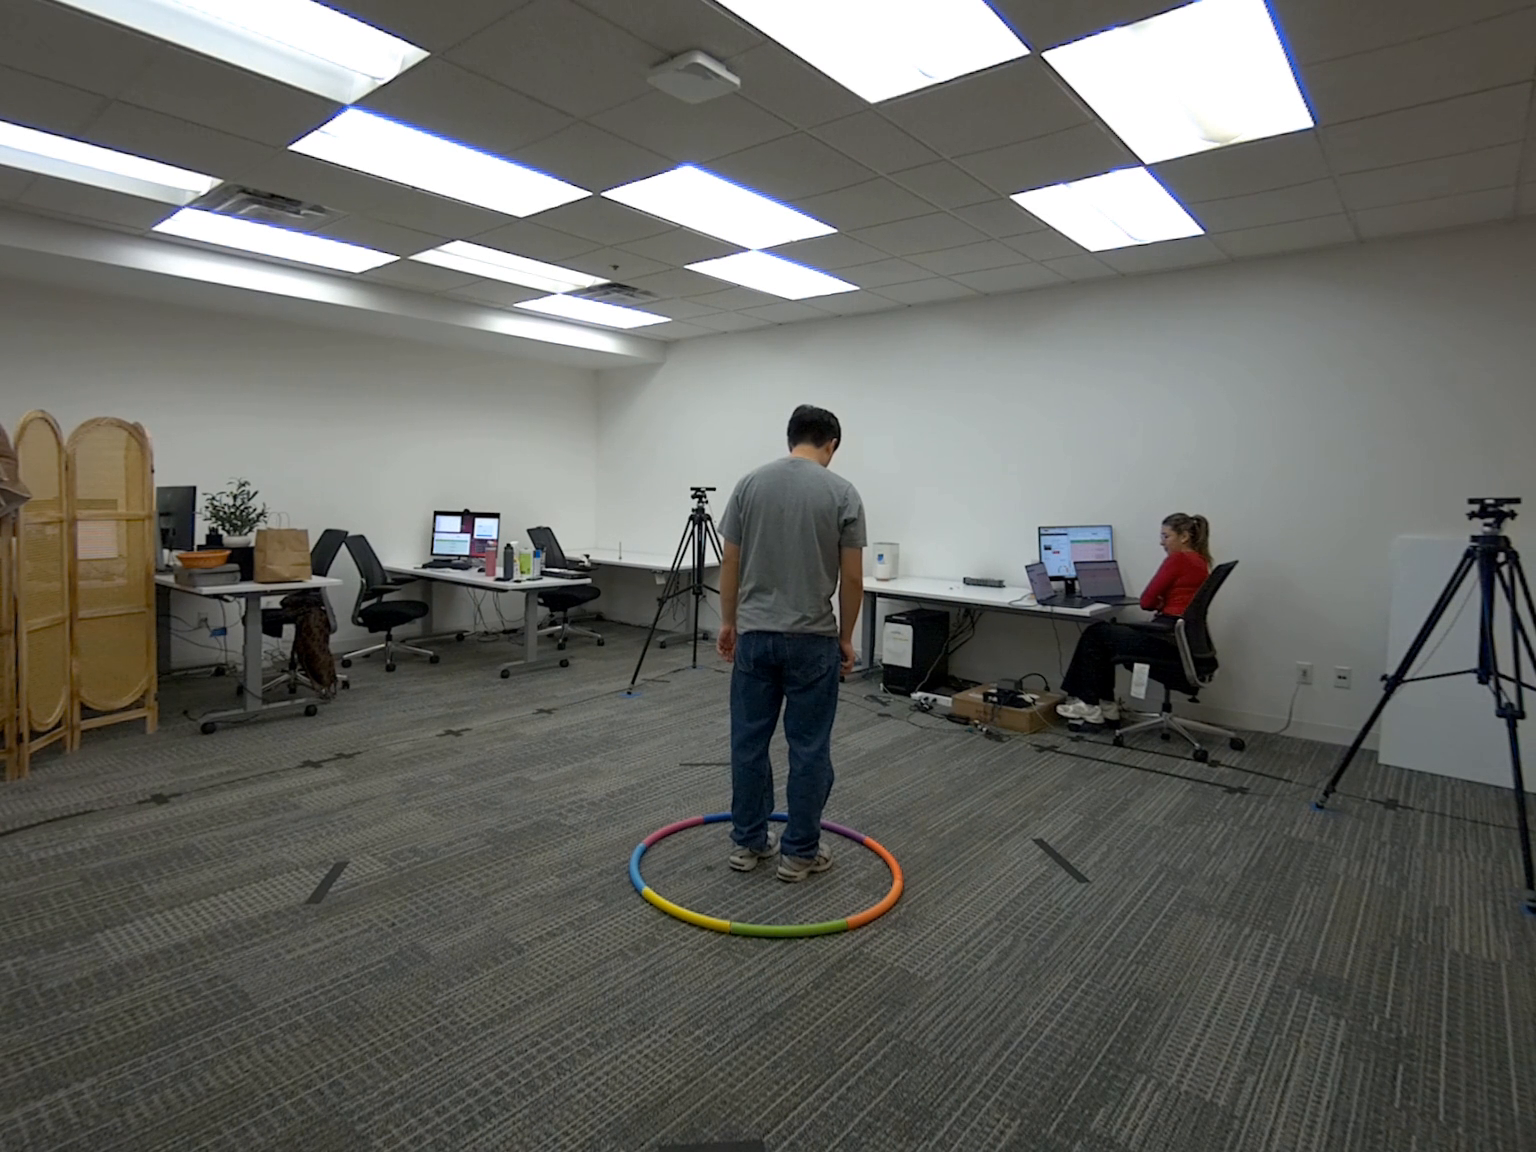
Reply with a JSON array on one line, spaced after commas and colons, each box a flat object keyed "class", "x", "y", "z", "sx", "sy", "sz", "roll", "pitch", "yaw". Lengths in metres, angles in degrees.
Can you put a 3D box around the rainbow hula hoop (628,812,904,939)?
[{"class": "rainbow hula hoop", "x": -0.020, "y": 1.040, "z": 3.103, "sx": 0.978, "sy": 0.035, "sz": 0.983, "roll": 1, "pitch": 5, "yaw": -2}]
